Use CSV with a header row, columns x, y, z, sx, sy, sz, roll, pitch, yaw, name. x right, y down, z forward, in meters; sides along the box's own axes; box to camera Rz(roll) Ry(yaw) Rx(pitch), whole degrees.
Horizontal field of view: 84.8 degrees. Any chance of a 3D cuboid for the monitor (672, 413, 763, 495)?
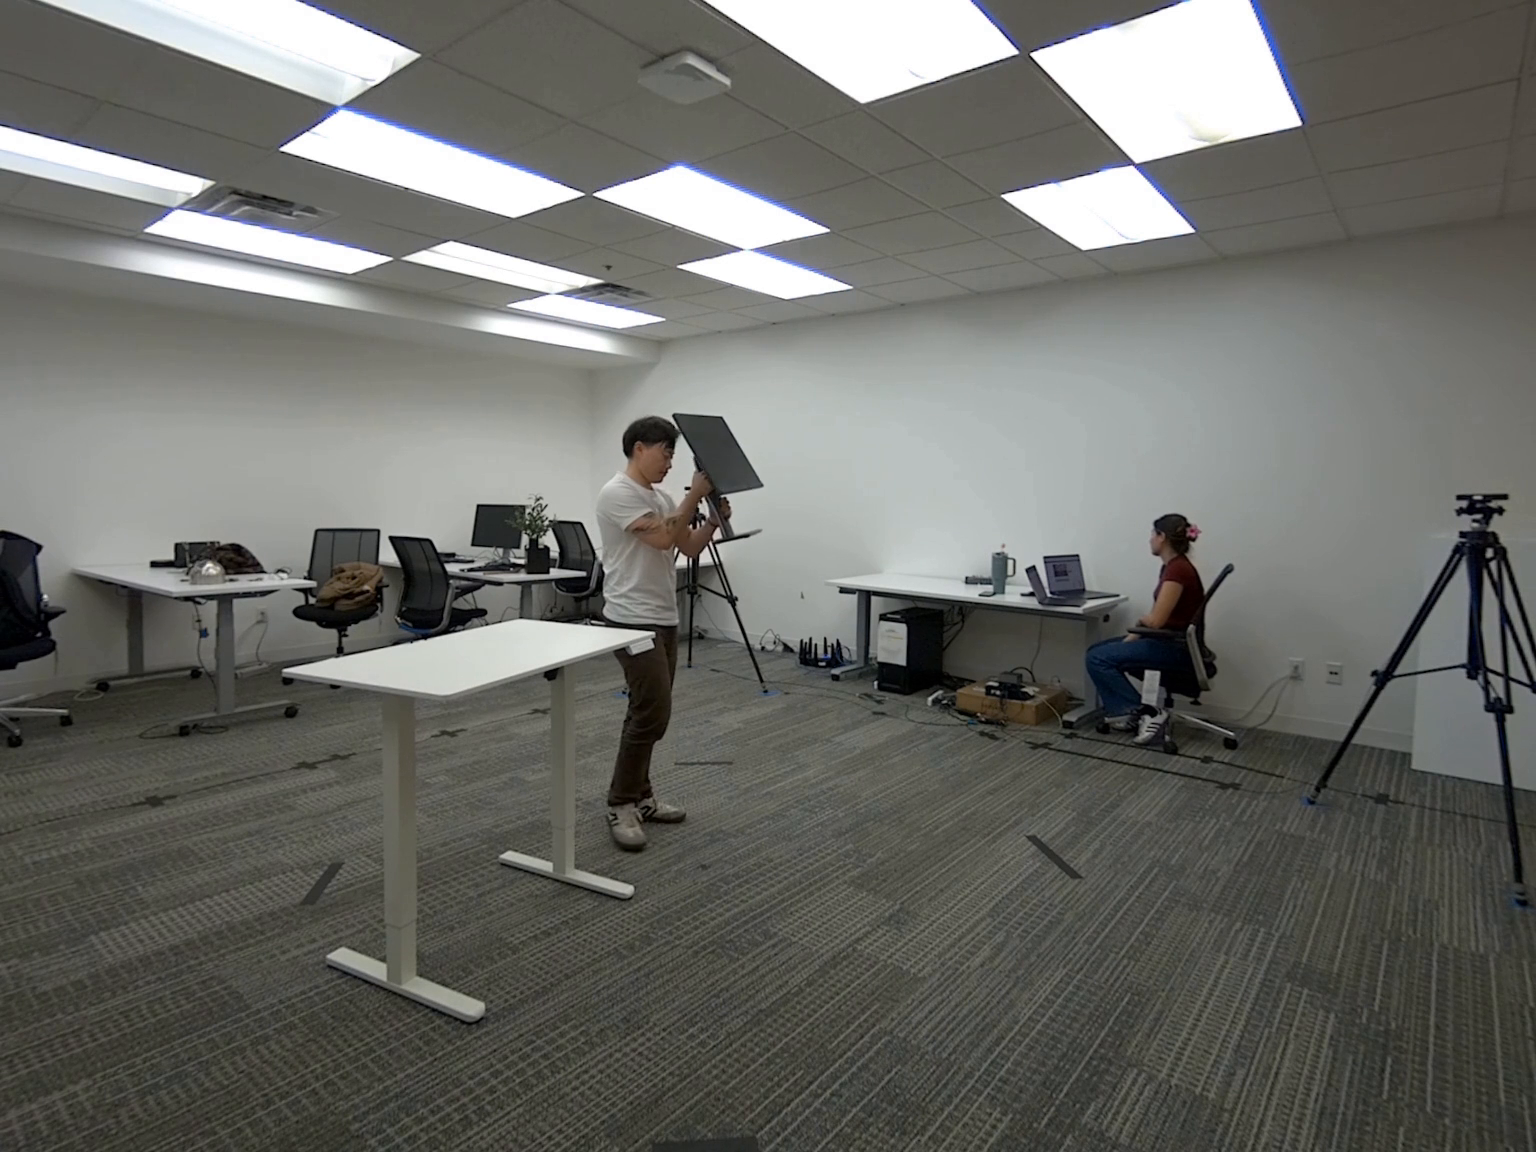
x,y,z,sx,sy,sz,roll,pitch,yaw,name
-0.204,-0.397,3.387,0.189,0.522,0.533,-16,2,16,monitor
